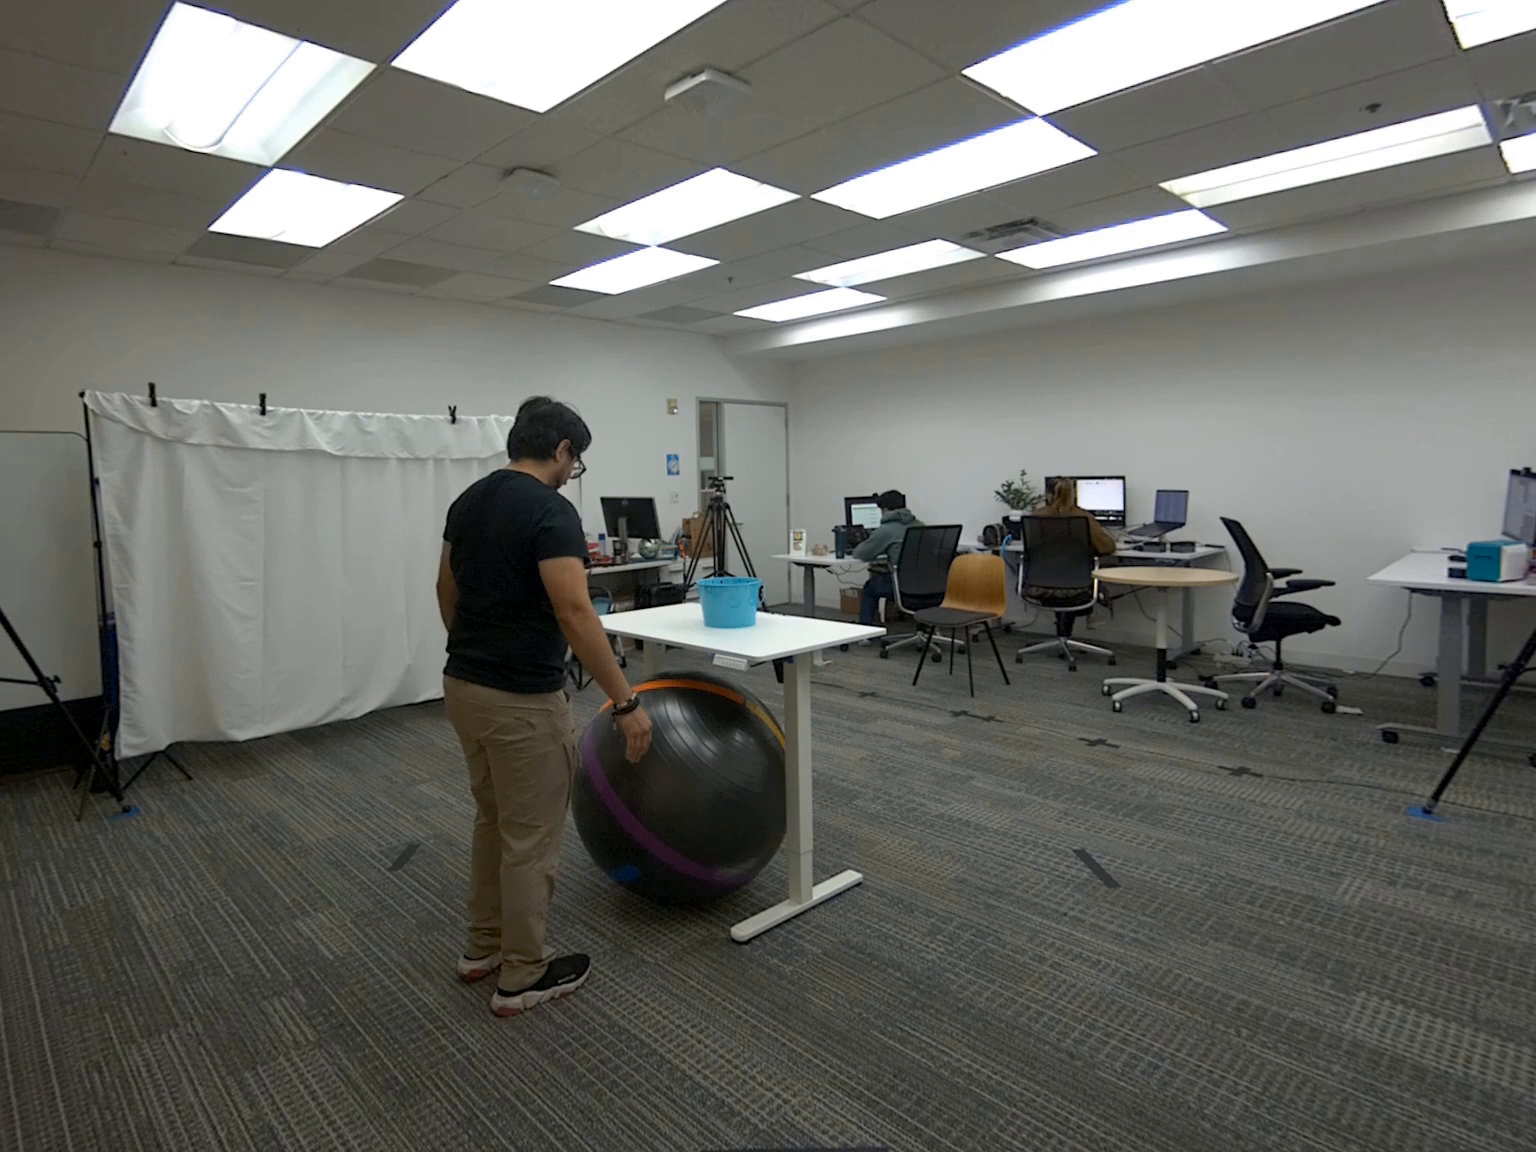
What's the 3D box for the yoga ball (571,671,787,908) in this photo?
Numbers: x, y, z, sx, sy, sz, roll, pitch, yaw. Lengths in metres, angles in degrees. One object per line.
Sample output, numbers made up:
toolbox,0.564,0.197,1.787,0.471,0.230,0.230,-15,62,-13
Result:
yoga ball,-0.294,0.711,2.887,0.757,0.755,0.762,-1,5,-2
